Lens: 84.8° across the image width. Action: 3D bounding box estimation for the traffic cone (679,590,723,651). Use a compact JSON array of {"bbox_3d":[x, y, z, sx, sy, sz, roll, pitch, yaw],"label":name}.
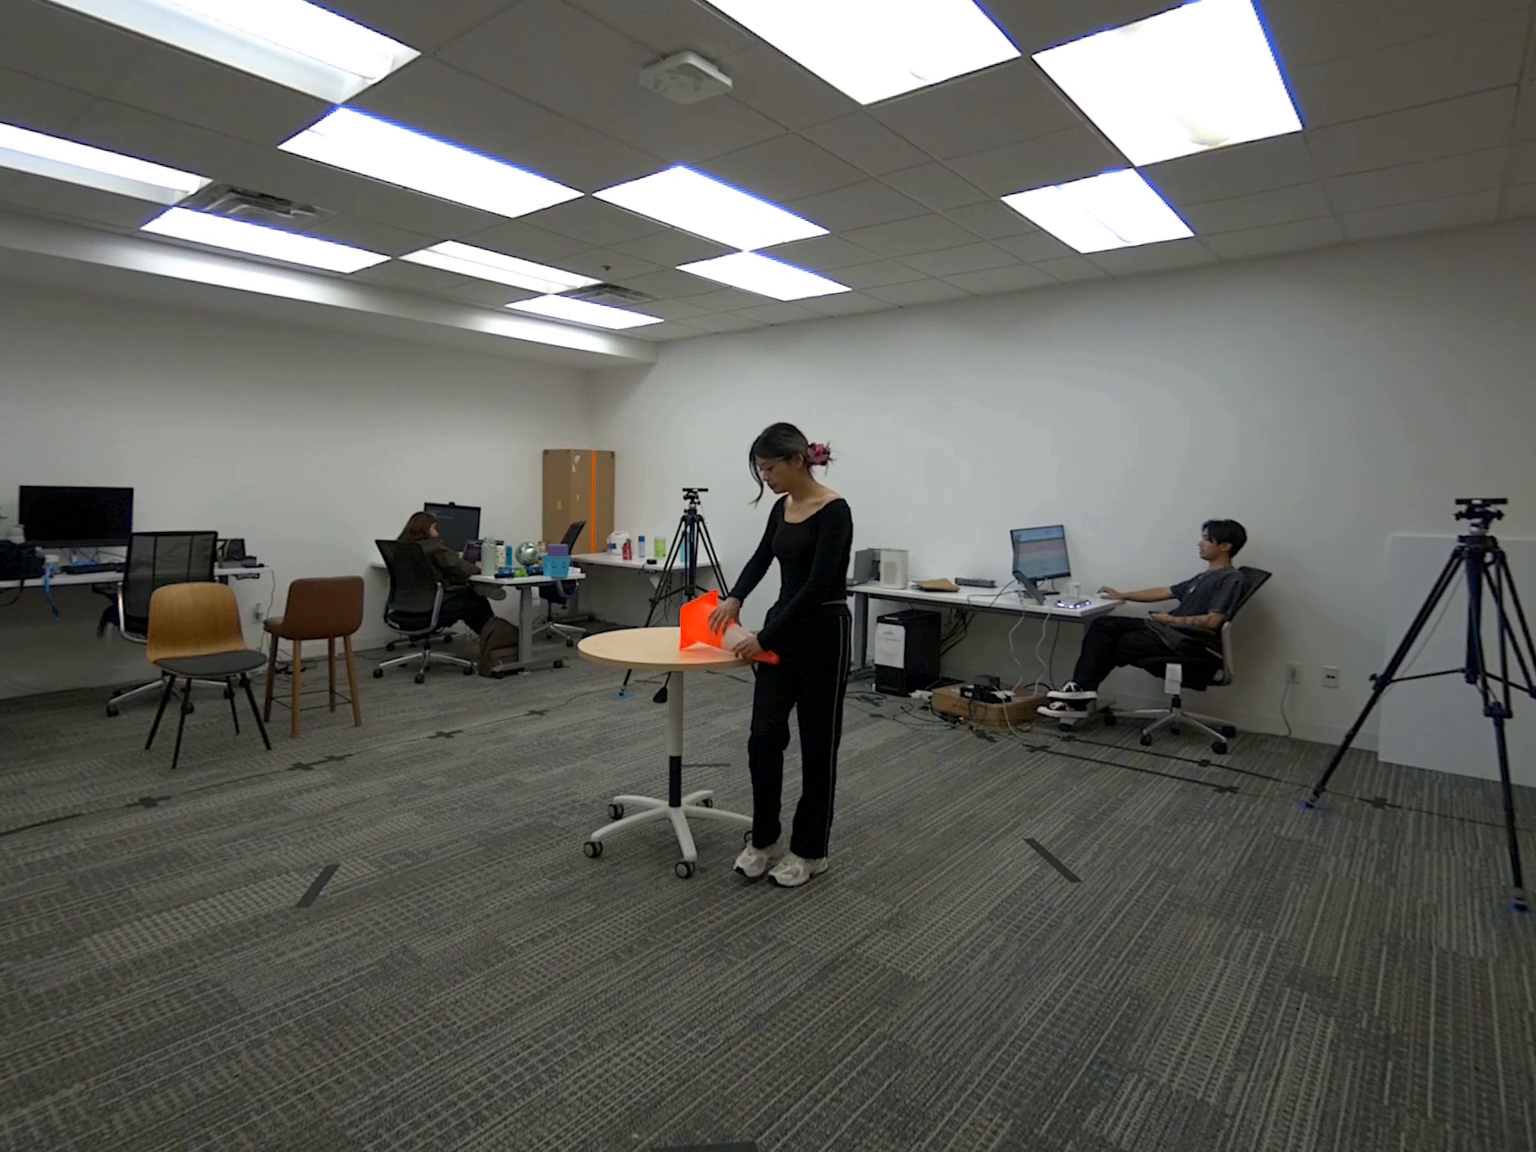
[{"bbox_3d":[-0.130,0.228,3.095,0.399,0.200,0.200,24,34,35],"label":"traffic cone"}]
